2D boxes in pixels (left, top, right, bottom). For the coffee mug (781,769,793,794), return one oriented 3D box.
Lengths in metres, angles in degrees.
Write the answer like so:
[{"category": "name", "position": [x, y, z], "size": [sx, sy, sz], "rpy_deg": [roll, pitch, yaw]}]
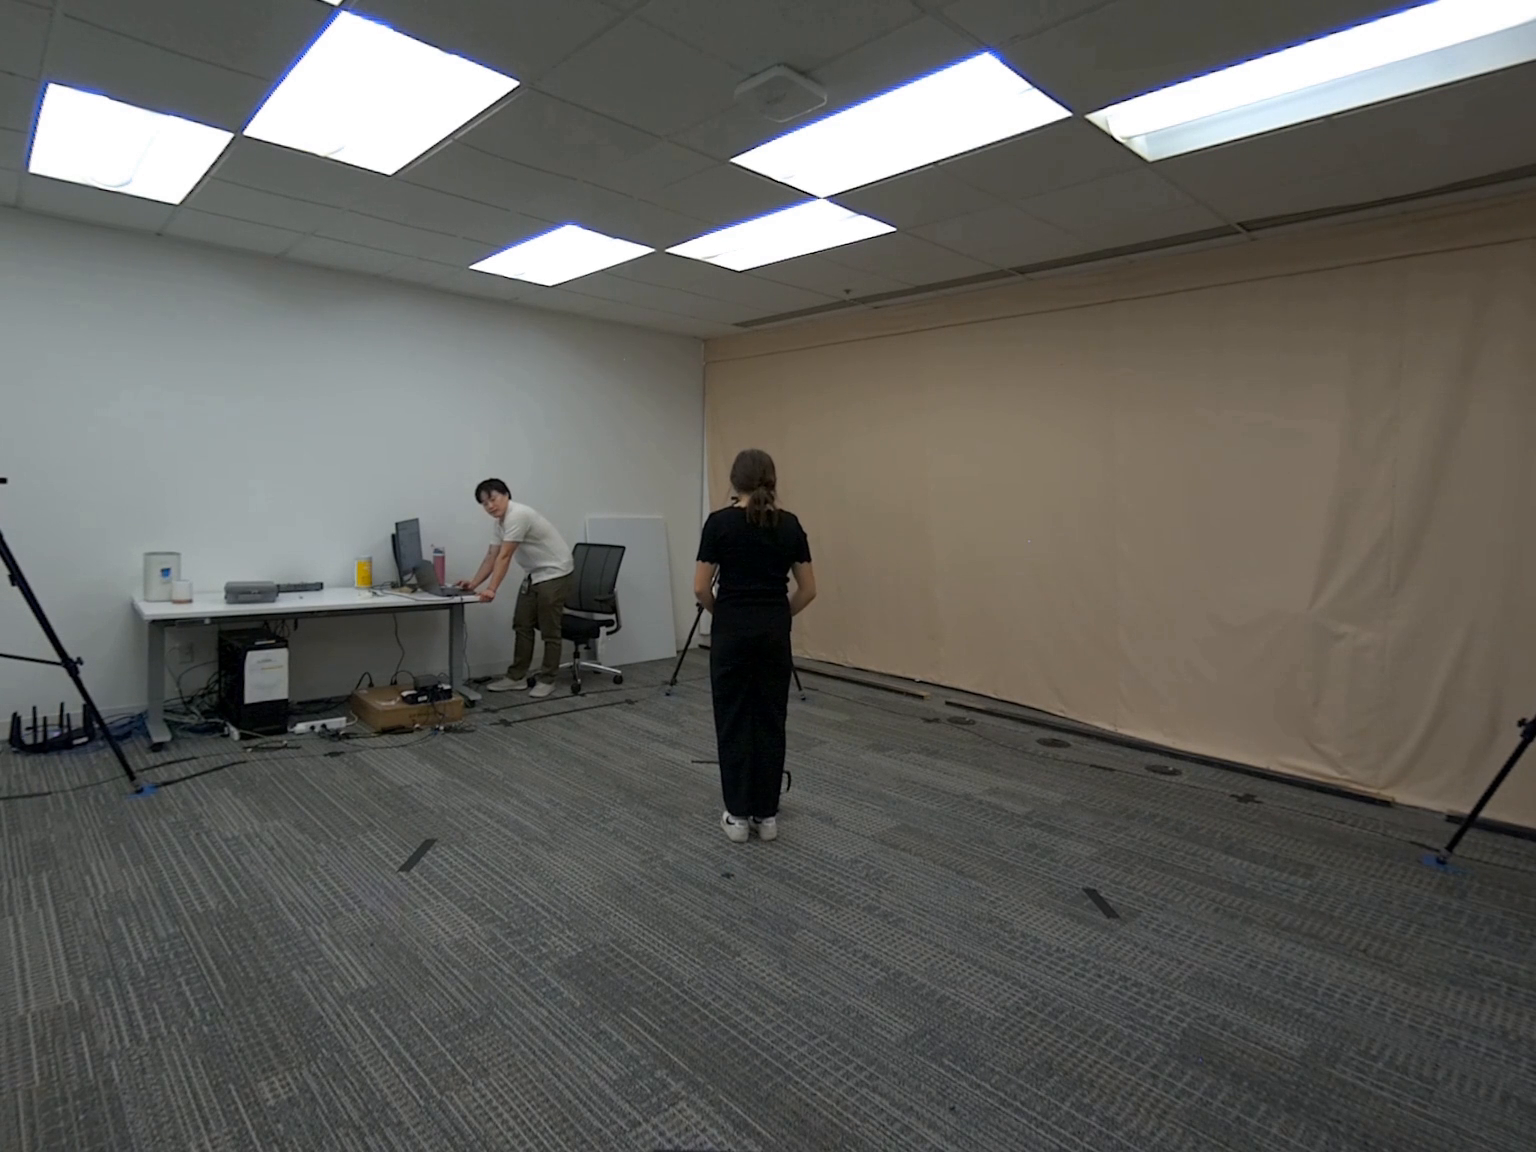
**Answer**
[{"category": "coffee mug", "position": [0.032, 0.960, 3.763], "size": [0.125, 0.203, 0.086], "rpy_deg": [3, 0, 37]}]
